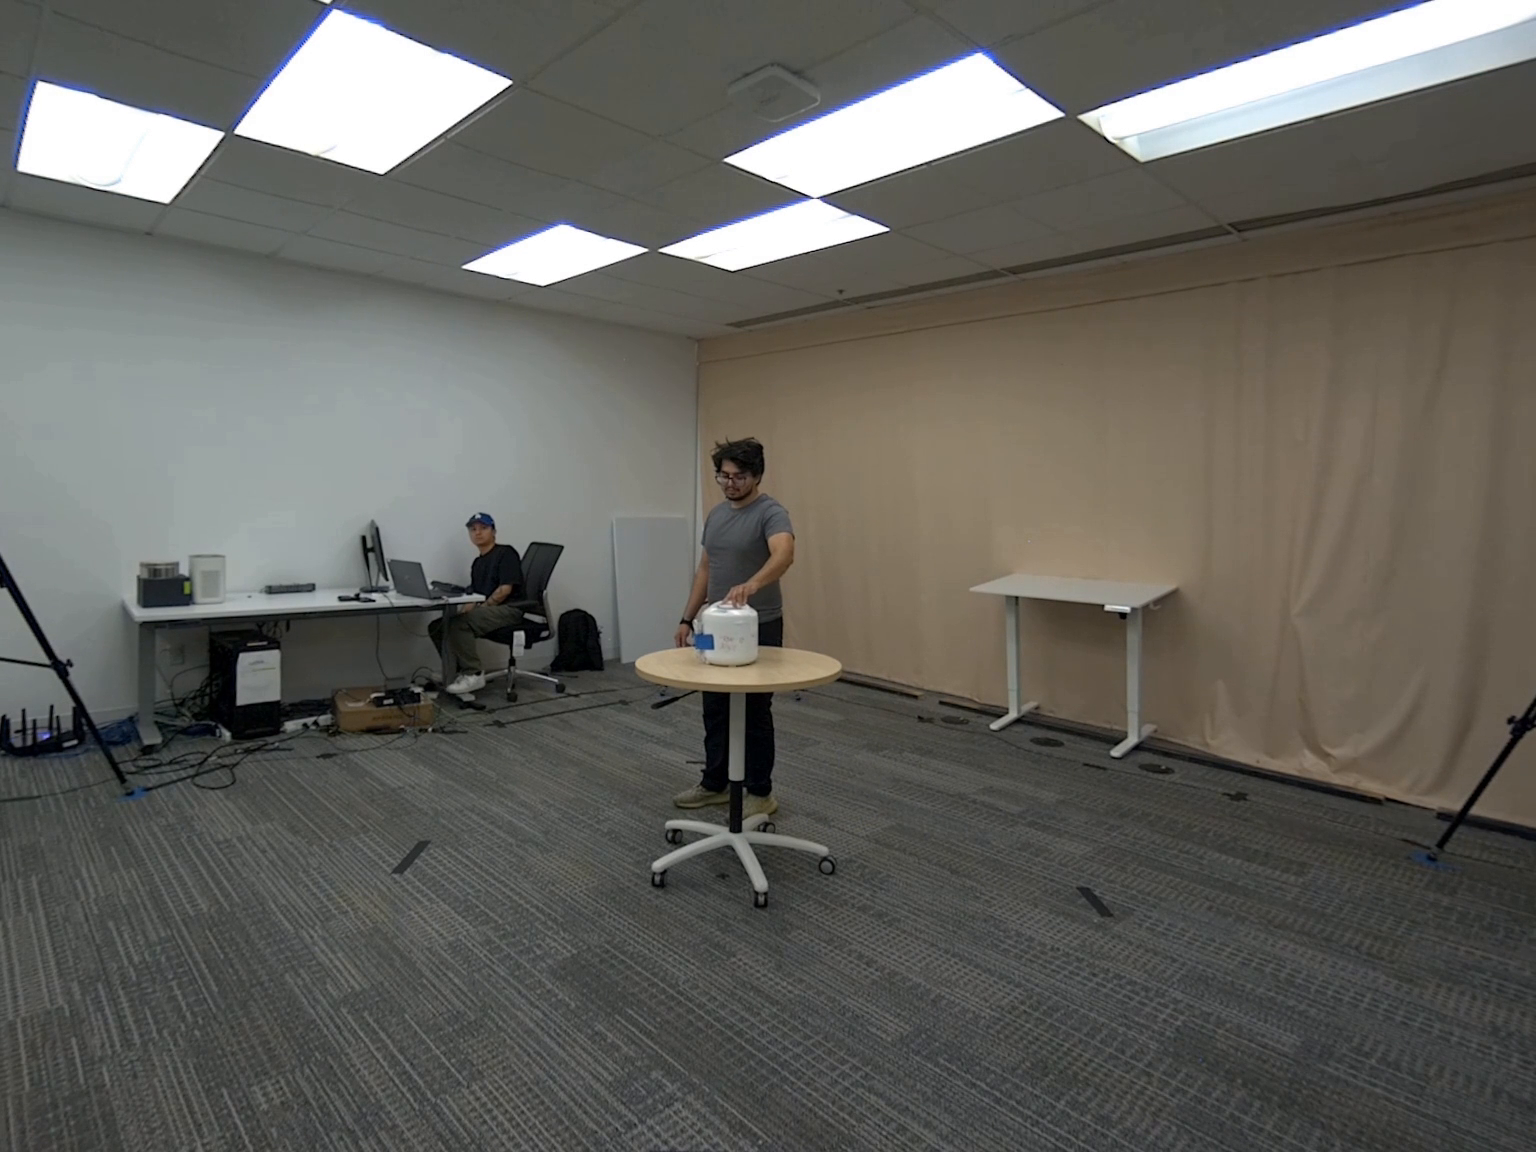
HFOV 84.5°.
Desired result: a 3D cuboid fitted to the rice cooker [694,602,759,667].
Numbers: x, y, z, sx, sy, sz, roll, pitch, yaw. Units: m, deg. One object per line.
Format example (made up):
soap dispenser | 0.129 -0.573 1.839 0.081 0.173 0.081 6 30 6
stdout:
rice cooker | -0.155 0.206 3.138 0.225 0.232 0.213 4 6 29
